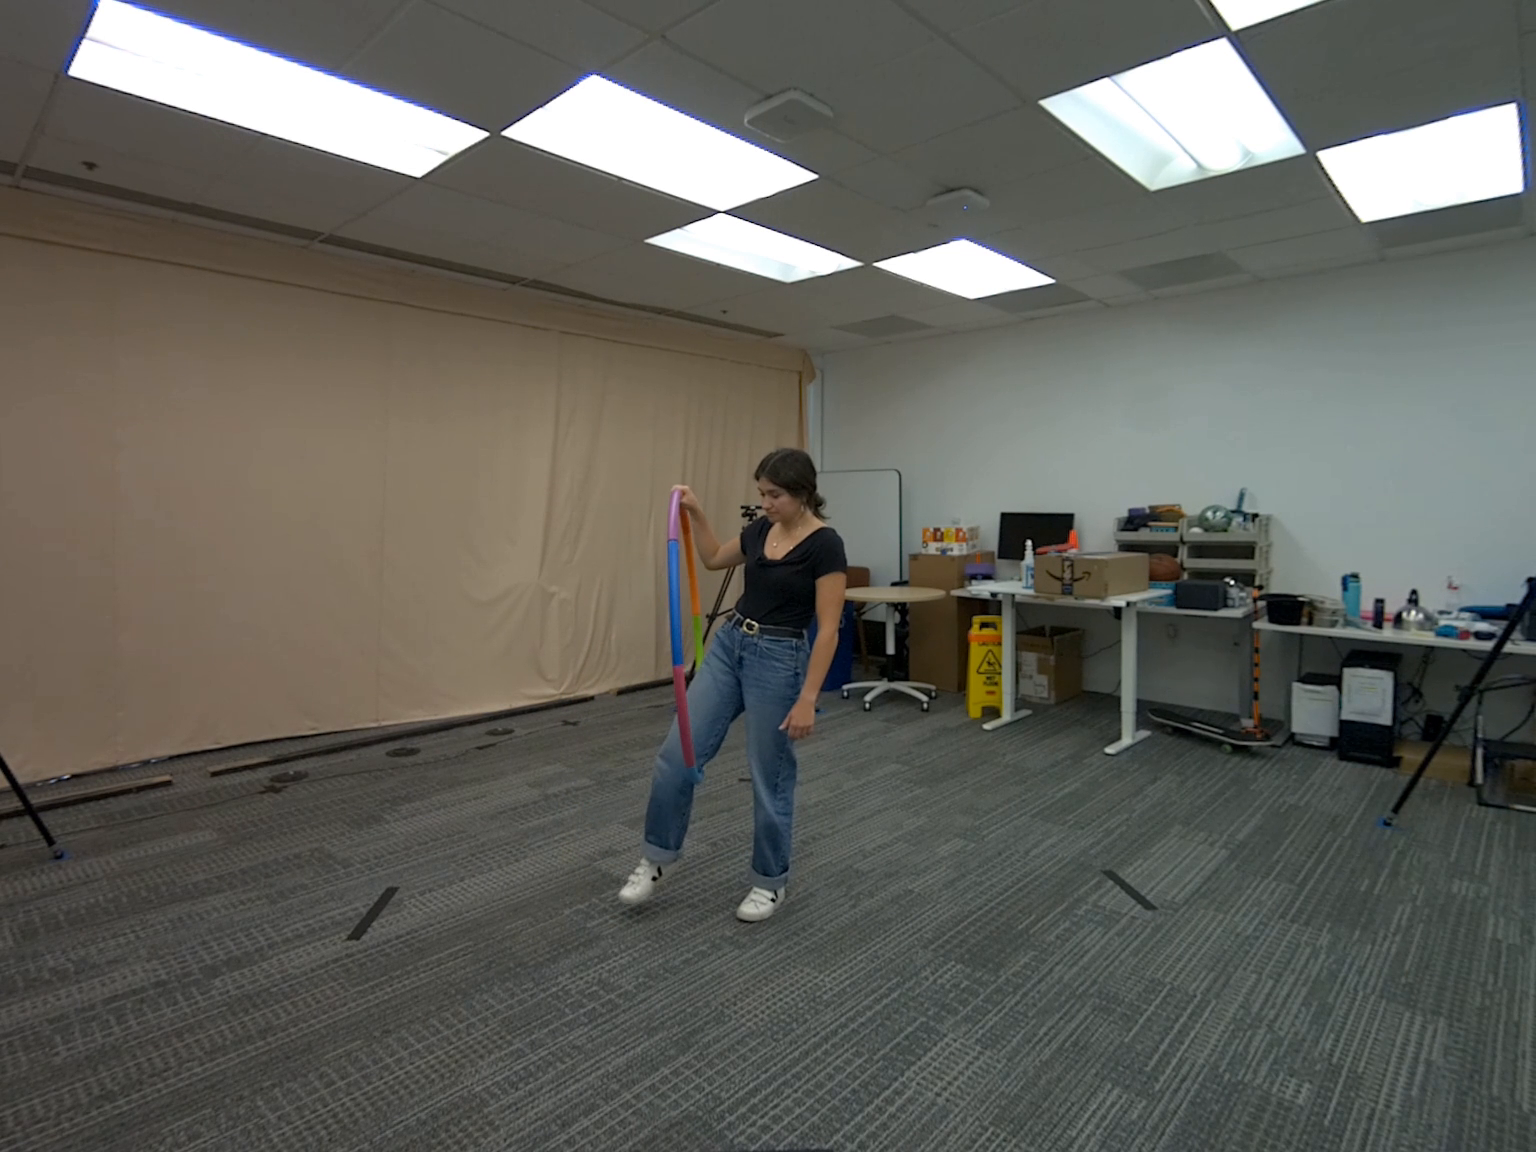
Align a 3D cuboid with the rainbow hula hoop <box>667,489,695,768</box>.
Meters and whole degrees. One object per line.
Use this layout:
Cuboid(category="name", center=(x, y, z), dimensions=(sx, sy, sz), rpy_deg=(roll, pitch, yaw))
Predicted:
Cuboid(category="rainbow hula hoop", center=(-0.267, 0.193, 2.882), dimensions=(0.035, 0.976, 0.980), rpy_deg=(-5, 4, -1))
